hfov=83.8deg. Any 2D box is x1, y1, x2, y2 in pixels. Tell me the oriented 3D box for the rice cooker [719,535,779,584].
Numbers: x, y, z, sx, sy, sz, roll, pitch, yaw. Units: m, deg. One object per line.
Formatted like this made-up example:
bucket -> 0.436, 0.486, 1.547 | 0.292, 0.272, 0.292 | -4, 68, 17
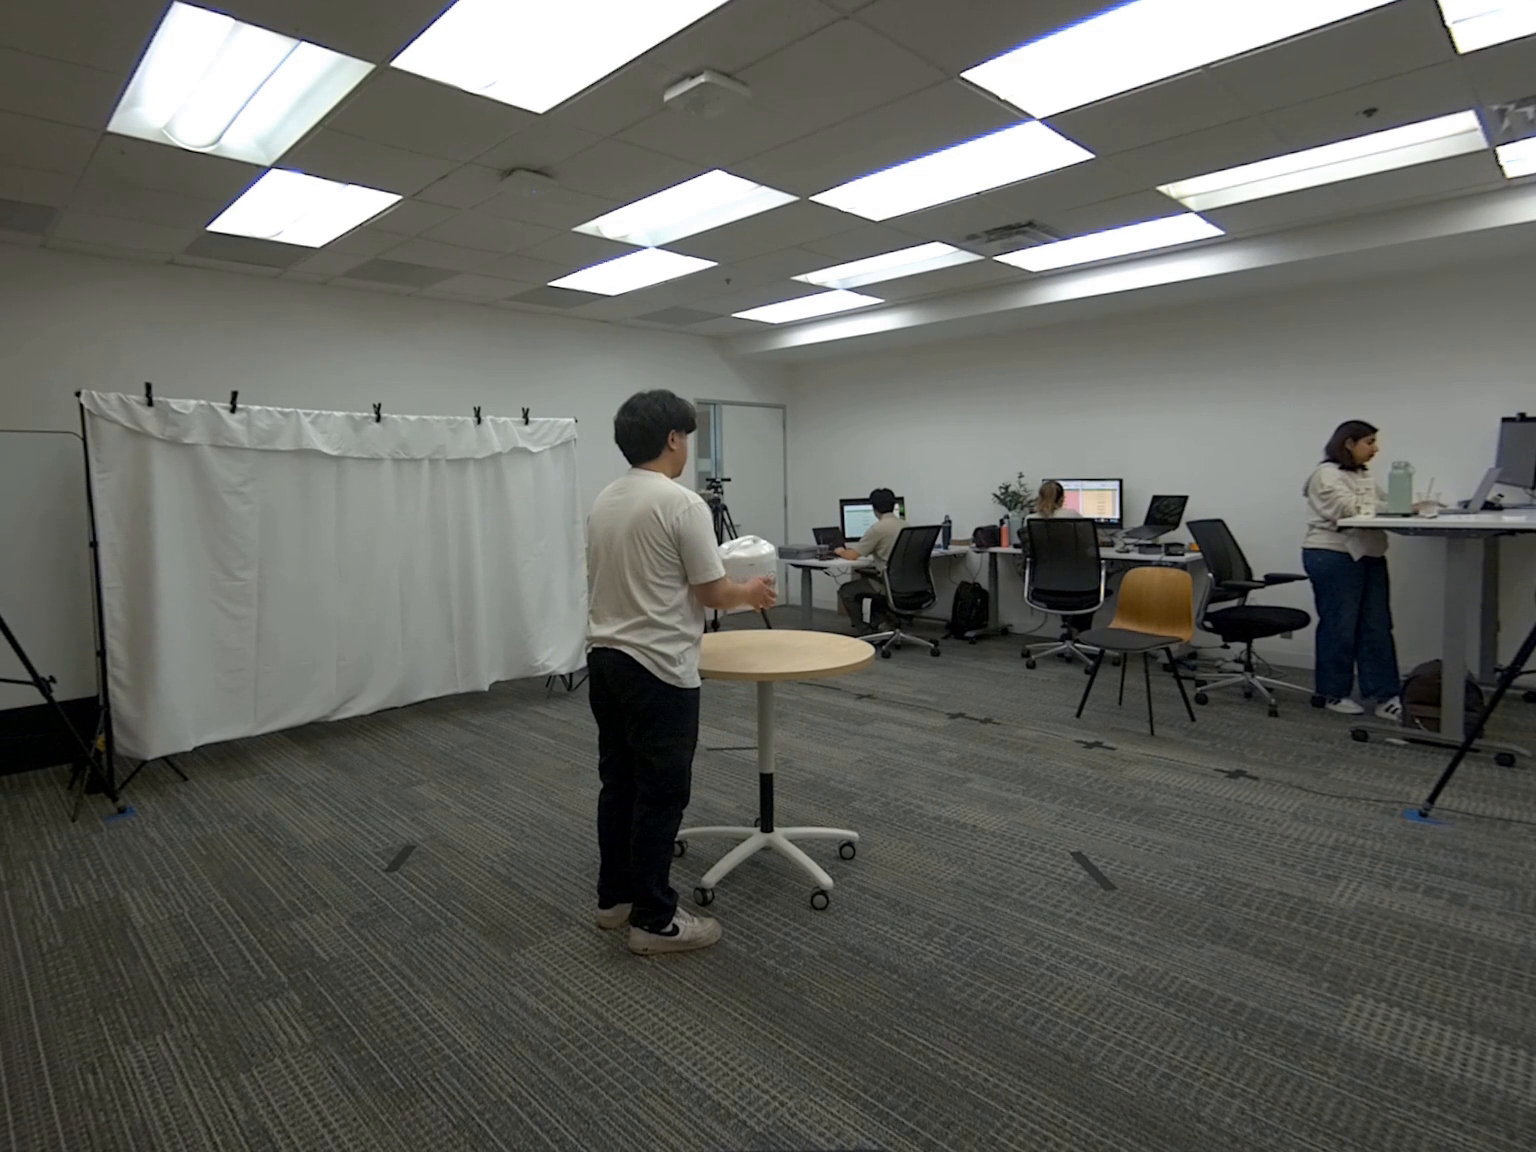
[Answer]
rice cooker -> -0.067, -0.020, 2.907 | 0.224, 0.230, 0.216 | 6, 17, 40
